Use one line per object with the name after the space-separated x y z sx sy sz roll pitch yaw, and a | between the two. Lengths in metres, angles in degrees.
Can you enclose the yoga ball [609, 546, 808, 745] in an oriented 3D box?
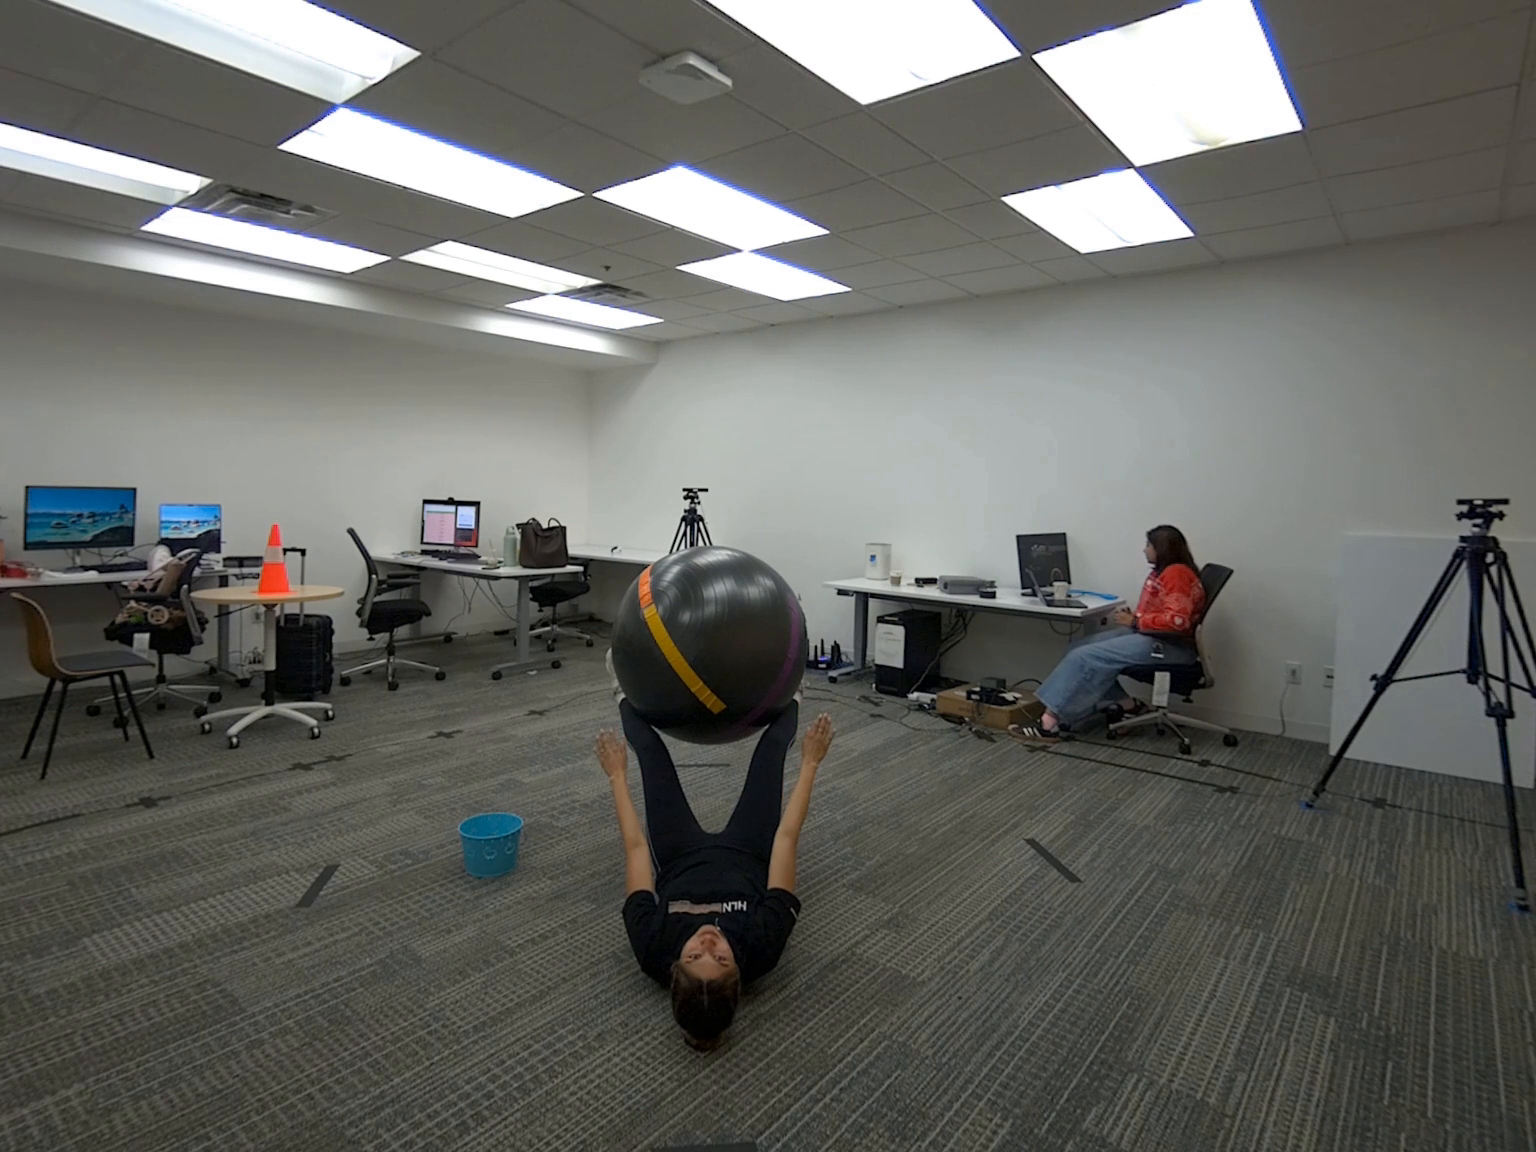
-0.229 0.262 3.271 0.757 0.756 0.762 1 4 -2 | yoga ball
